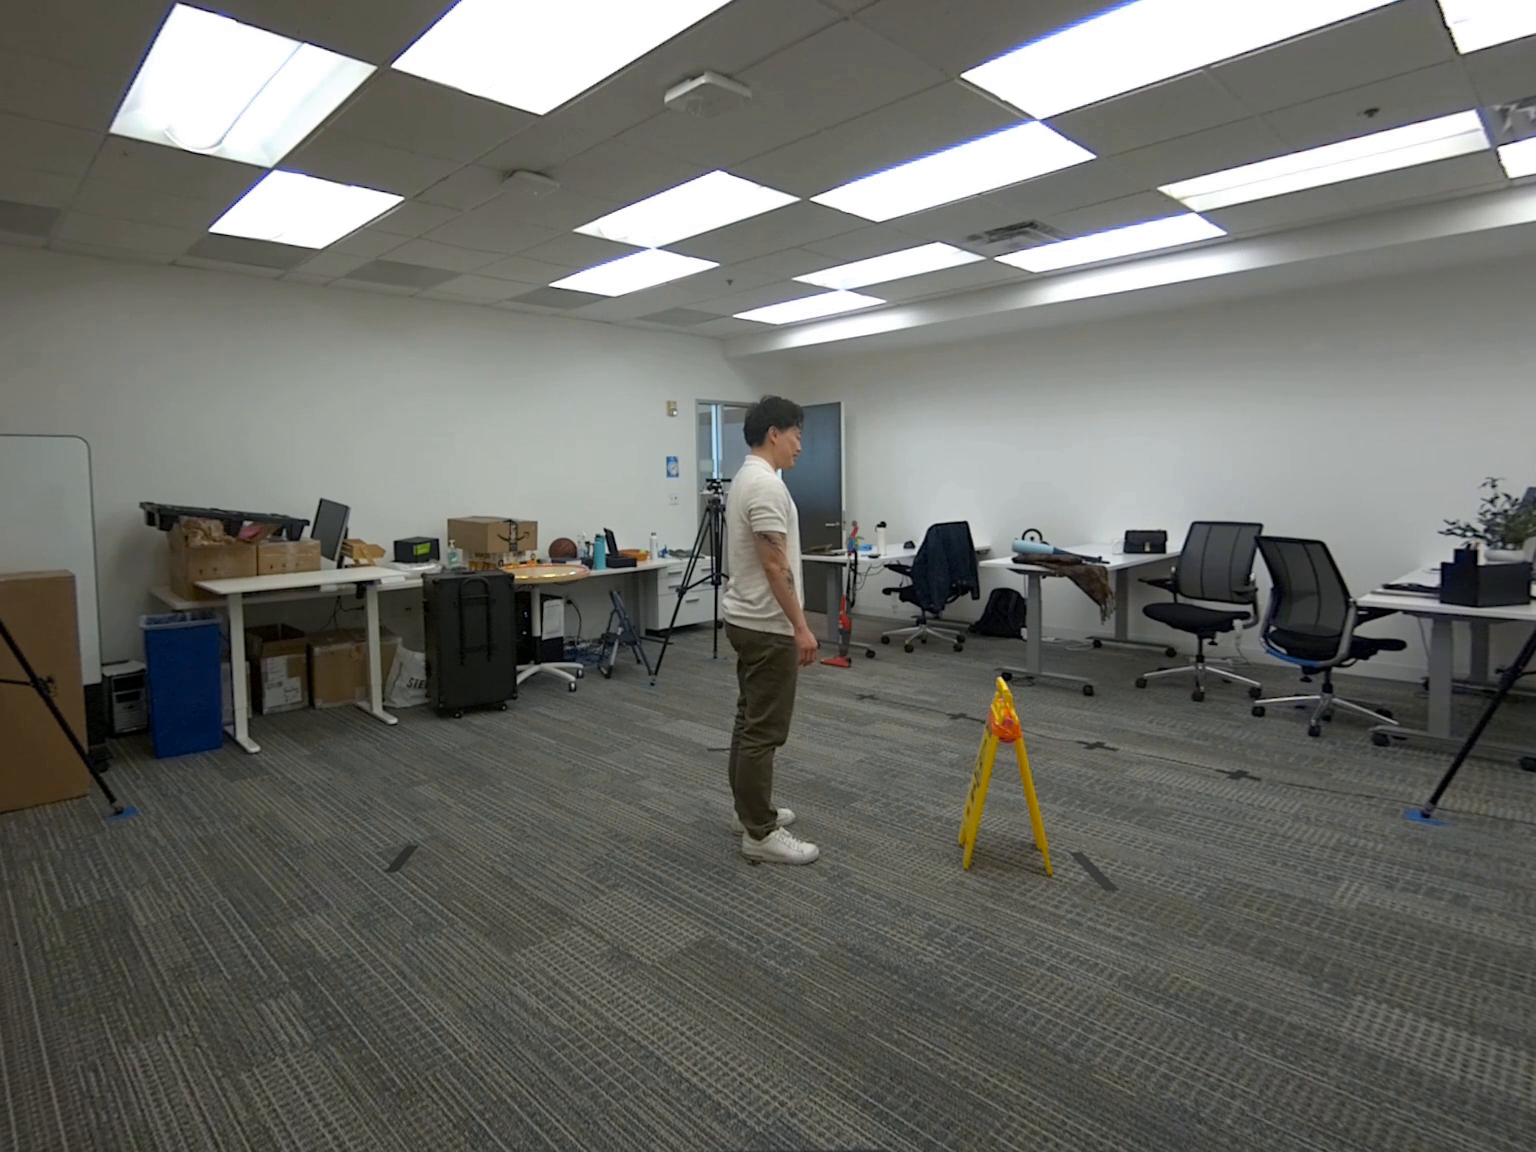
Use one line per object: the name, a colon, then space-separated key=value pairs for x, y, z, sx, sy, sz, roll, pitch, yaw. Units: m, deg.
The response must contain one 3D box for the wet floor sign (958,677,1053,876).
wet floor sign: x=0.856 y=0.703 z=3.108 sx=0.293 sy=0.645 sz=0.280 roll=0 pitch=3 yaw=10
